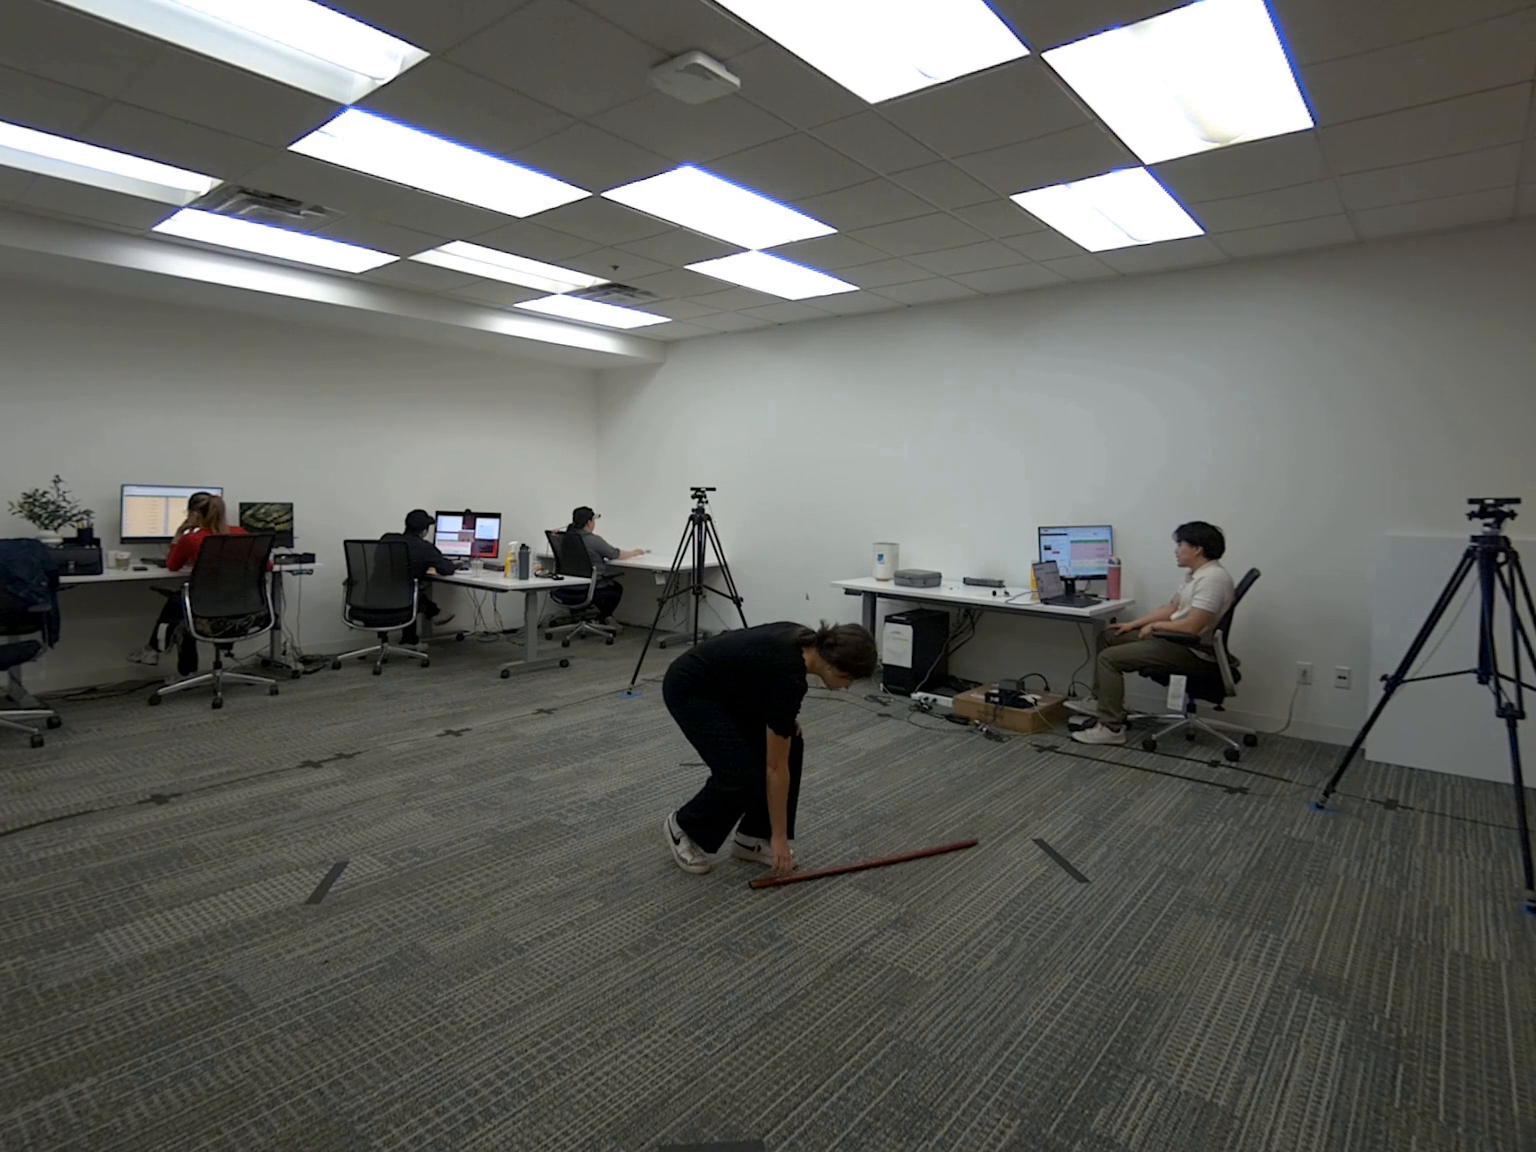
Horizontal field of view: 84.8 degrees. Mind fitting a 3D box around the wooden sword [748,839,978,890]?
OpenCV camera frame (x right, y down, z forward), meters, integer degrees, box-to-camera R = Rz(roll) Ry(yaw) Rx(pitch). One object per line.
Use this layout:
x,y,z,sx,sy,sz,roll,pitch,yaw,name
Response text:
0.391,1.056,3.162,0.999,0.024,0.051,-1,-20,-27,wooden sword
